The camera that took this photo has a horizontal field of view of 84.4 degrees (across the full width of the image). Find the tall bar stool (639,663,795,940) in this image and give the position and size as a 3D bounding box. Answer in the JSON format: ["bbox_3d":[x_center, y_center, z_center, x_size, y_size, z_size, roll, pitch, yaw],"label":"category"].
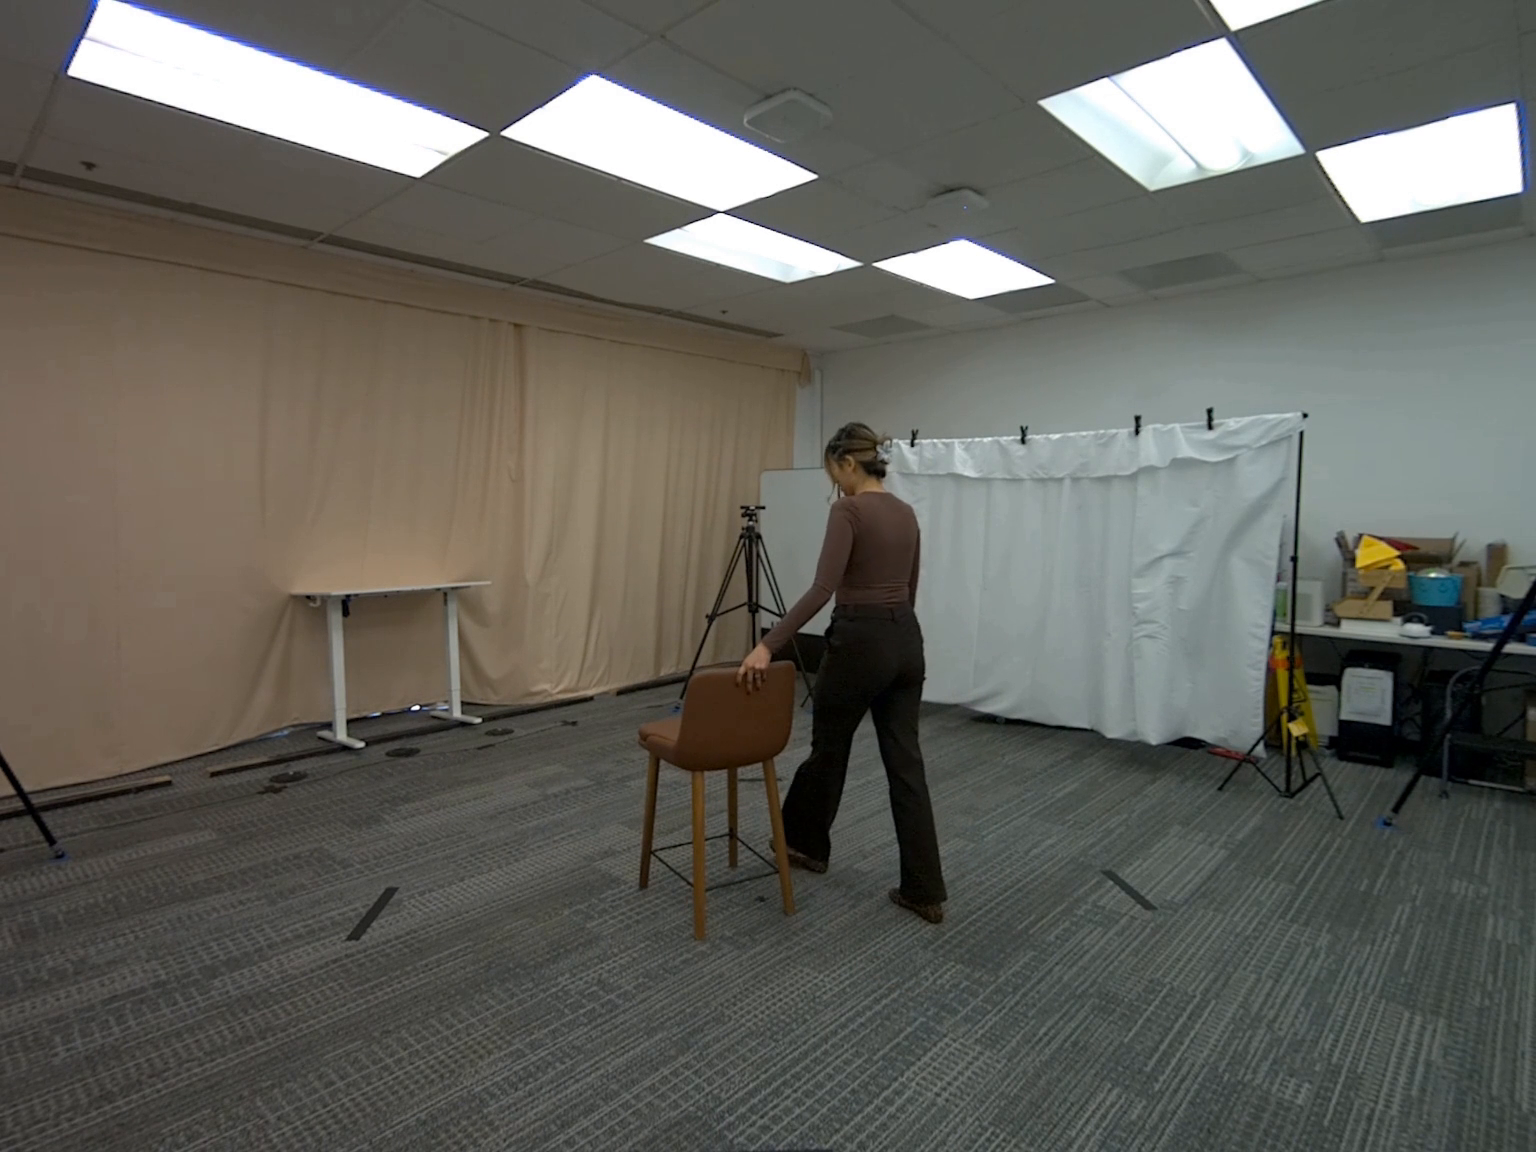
[{"bbox_3d":[-0.181,0.716,2.951,0.444,0.887,0.482,-2,6,-31],"label":"tall bar stool"}]
